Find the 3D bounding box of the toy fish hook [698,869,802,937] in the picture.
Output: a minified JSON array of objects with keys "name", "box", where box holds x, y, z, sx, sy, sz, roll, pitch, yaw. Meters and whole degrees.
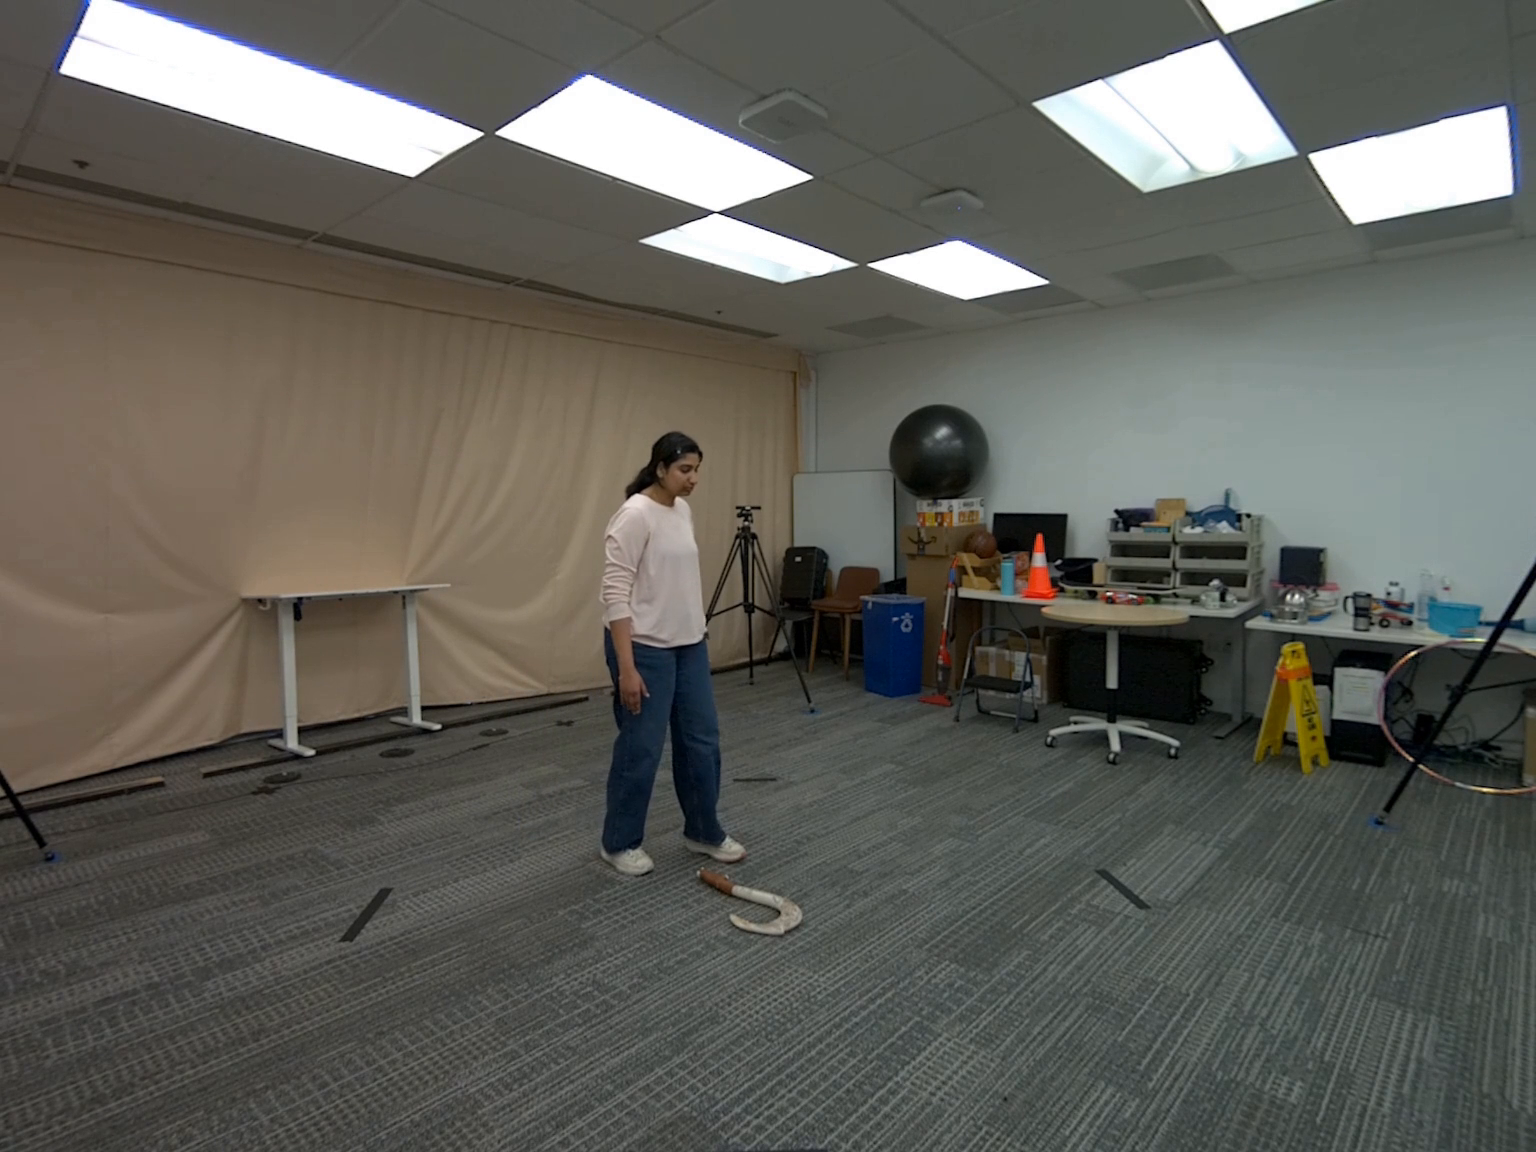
[{"name":"toy fish hook","box":[-0.105,1.127,2.927,0.524,0.048,0.217,4,5,45]}]
